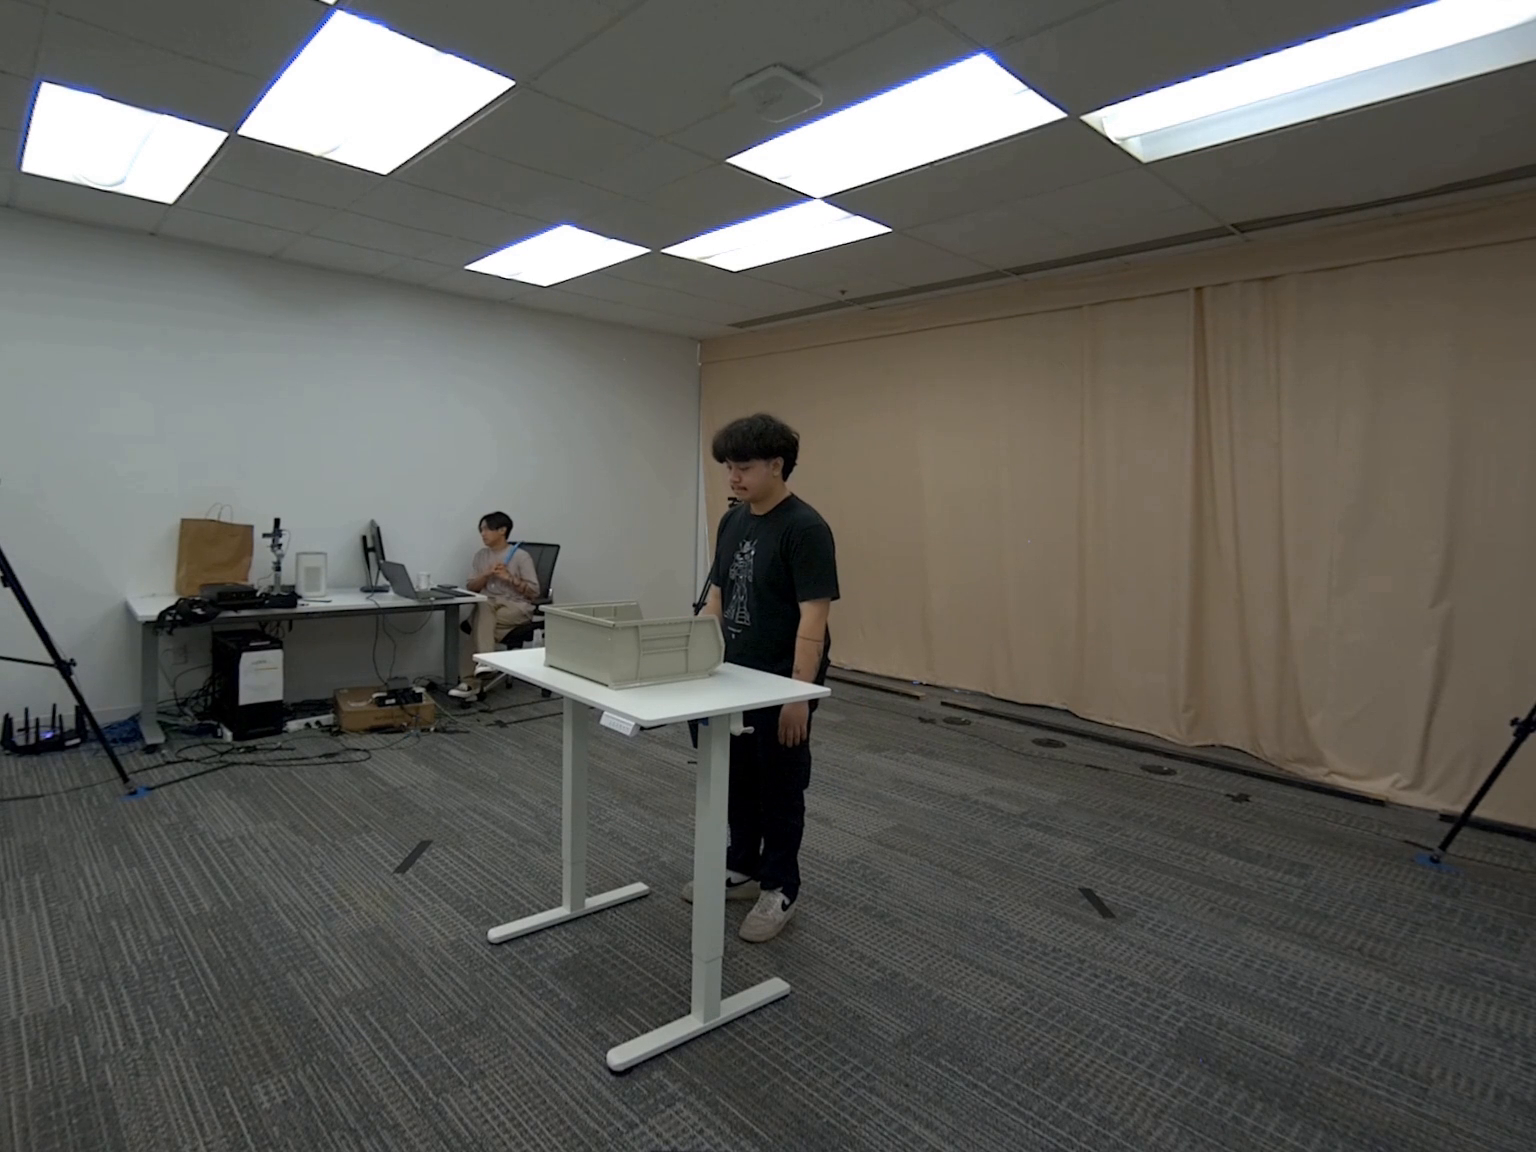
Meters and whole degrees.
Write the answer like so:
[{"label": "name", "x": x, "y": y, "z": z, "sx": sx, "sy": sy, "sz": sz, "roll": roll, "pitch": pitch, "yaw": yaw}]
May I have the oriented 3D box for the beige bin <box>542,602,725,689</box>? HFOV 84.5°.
[{"label": "beige bin", "x": -0.407, "y": 0.191, "z": 2.458, "sx": 0.369, "sy": 0.188, "sz": 0.433, "roll": -3, "pitch": 7, "yaw": -39}]
